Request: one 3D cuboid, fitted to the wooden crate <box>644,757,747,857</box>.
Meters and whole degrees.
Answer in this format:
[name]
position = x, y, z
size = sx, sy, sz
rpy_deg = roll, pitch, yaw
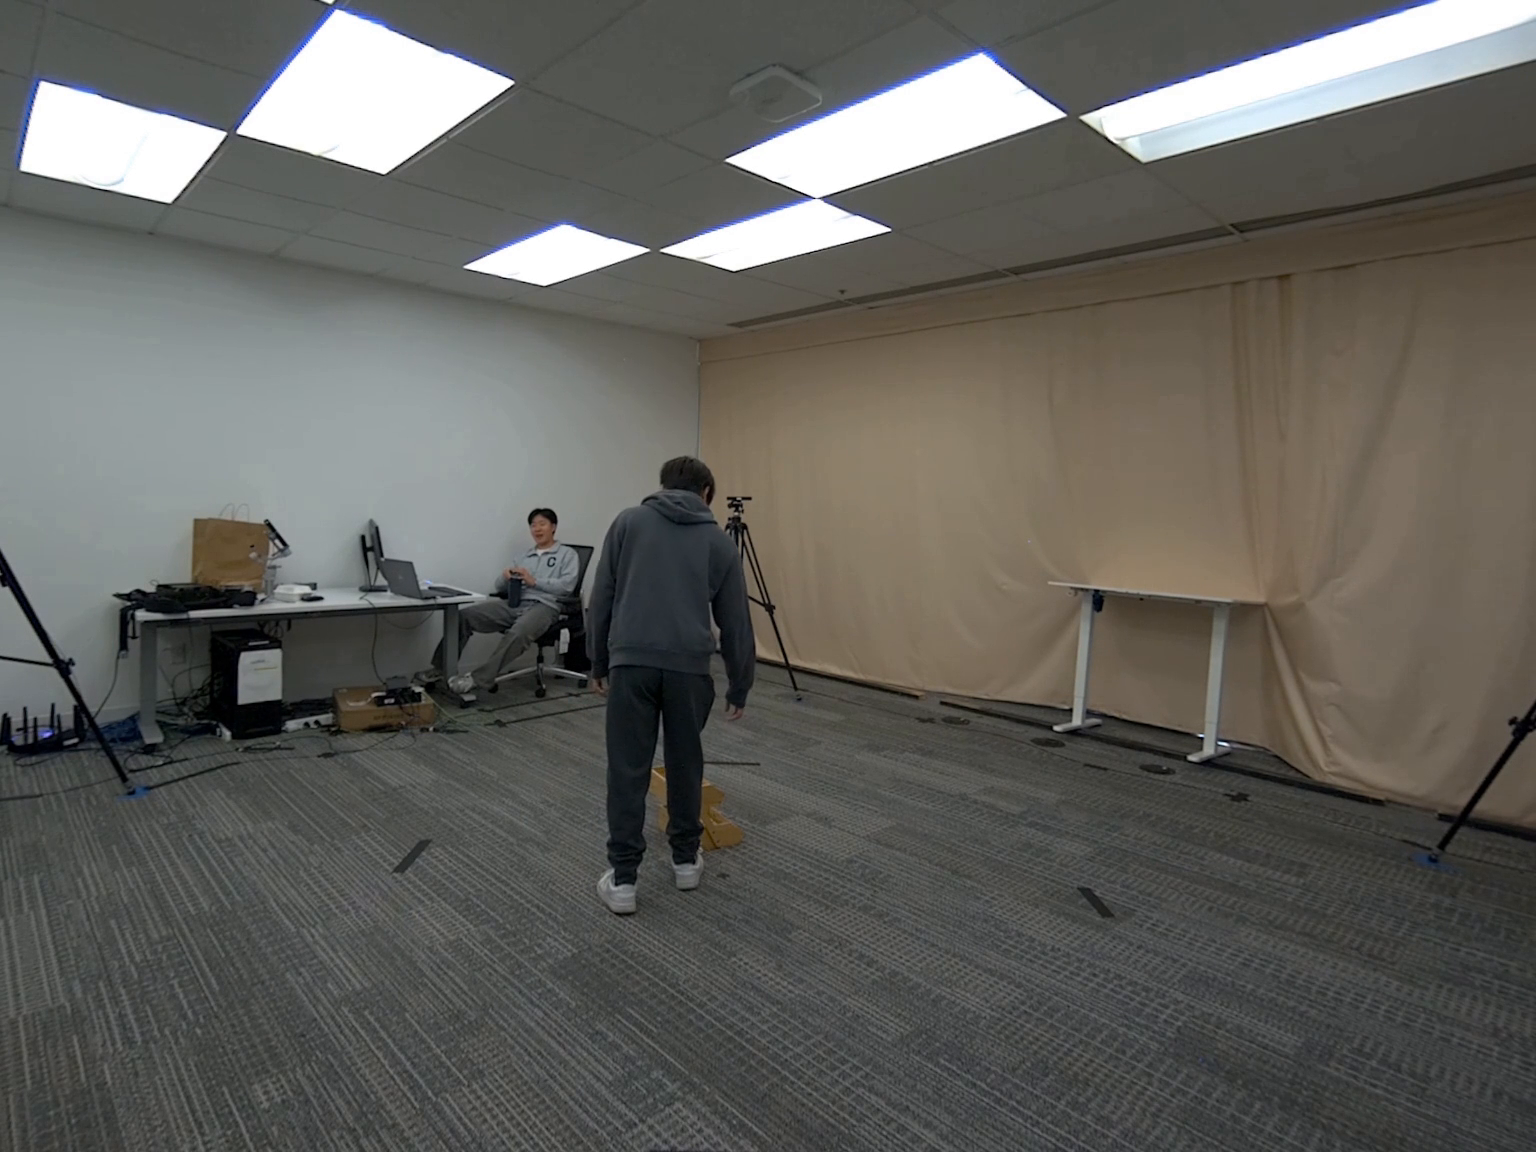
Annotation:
[wooden crate]
position = -0.303, 0.940, 3.463
size = 0.296, 0.272, 0.332
rpy_deg = -1, 5, -30
